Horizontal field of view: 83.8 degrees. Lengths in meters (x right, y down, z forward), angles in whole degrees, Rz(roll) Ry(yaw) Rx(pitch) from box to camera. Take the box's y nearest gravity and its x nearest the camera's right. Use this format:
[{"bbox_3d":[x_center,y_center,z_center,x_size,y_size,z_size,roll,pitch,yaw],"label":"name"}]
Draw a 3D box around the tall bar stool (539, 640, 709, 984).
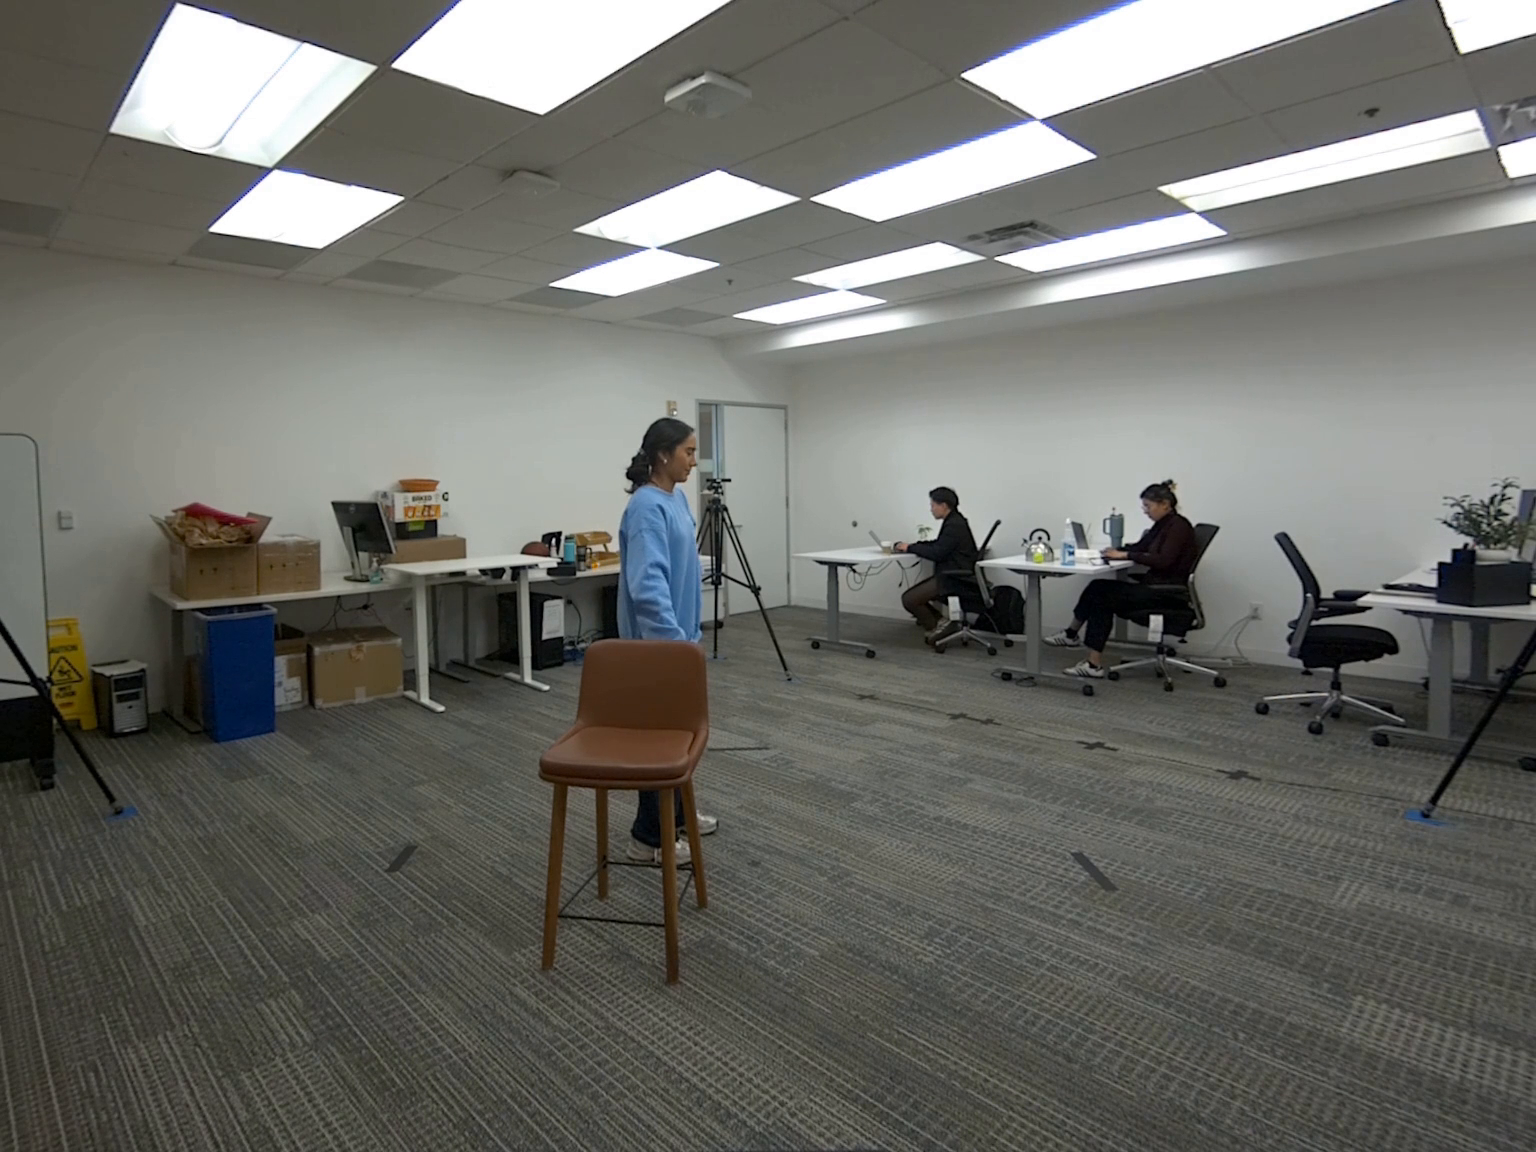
[{"bbox_3d":[-0.421,0.677,2.608,0.462,0.888,0.463,0,3,12],"label":"tall bar stool"}]
